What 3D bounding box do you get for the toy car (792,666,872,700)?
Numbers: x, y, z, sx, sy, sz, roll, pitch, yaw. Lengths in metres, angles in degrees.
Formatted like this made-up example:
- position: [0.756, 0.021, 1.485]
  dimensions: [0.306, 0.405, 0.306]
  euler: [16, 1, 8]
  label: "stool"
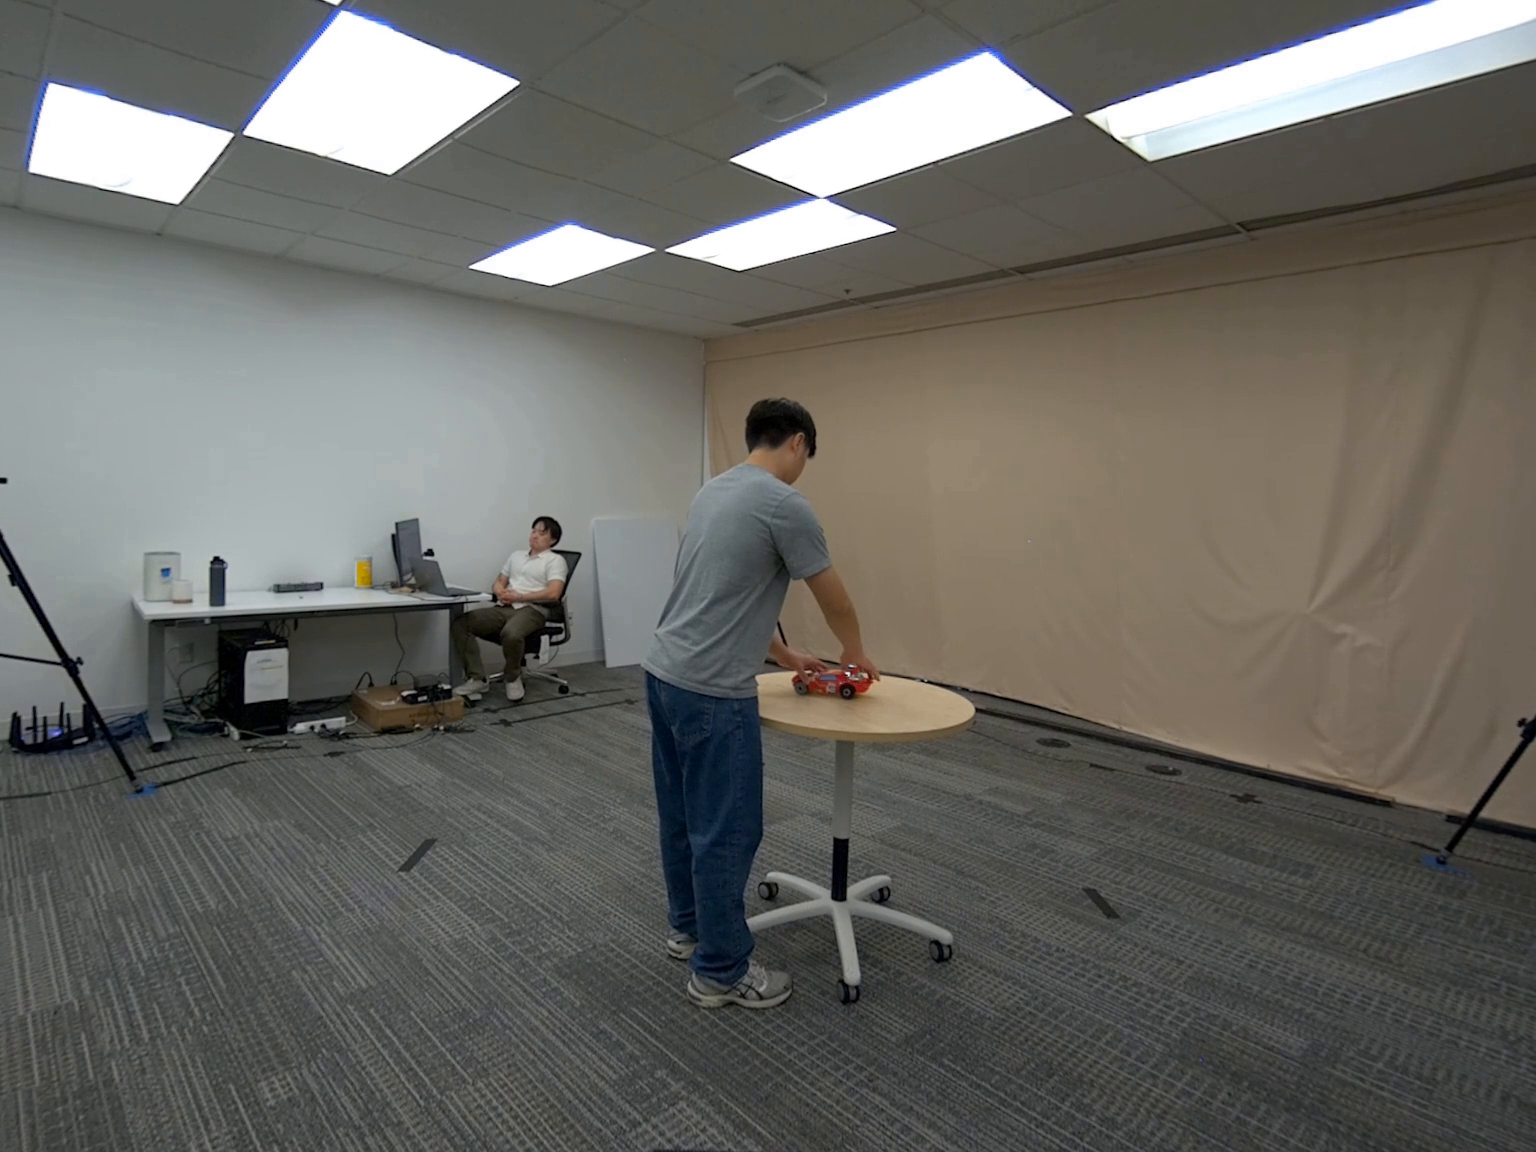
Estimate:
- position: [0.210, 0.344, 2.640]
  dimensions: [0.257, 0.083, 0.129]
  euler: [-9, 3, 15]
  label: "toy car"
